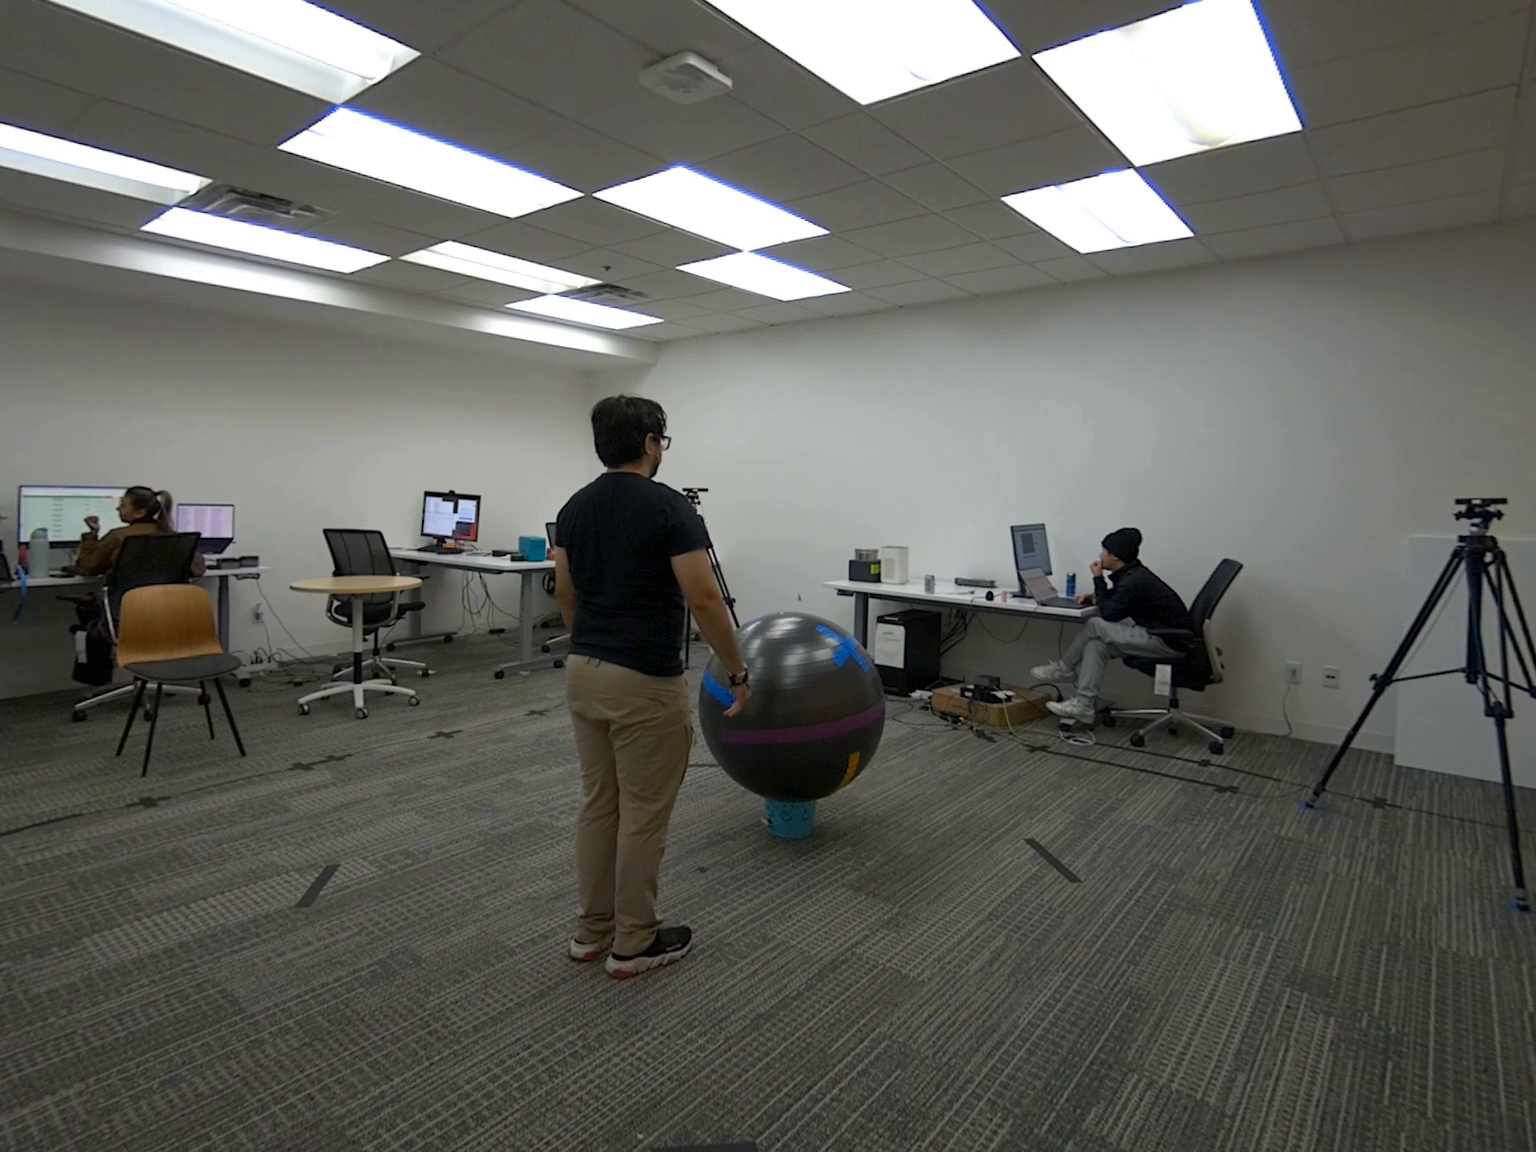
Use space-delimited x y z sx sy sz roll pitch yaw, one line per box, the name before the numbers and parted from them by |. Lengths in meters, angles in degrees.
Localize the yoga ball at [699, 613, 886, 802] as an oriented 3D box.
yoga ball | 0.089 0.524 3.480 0.757 0.755 0.762 1 4 -2
